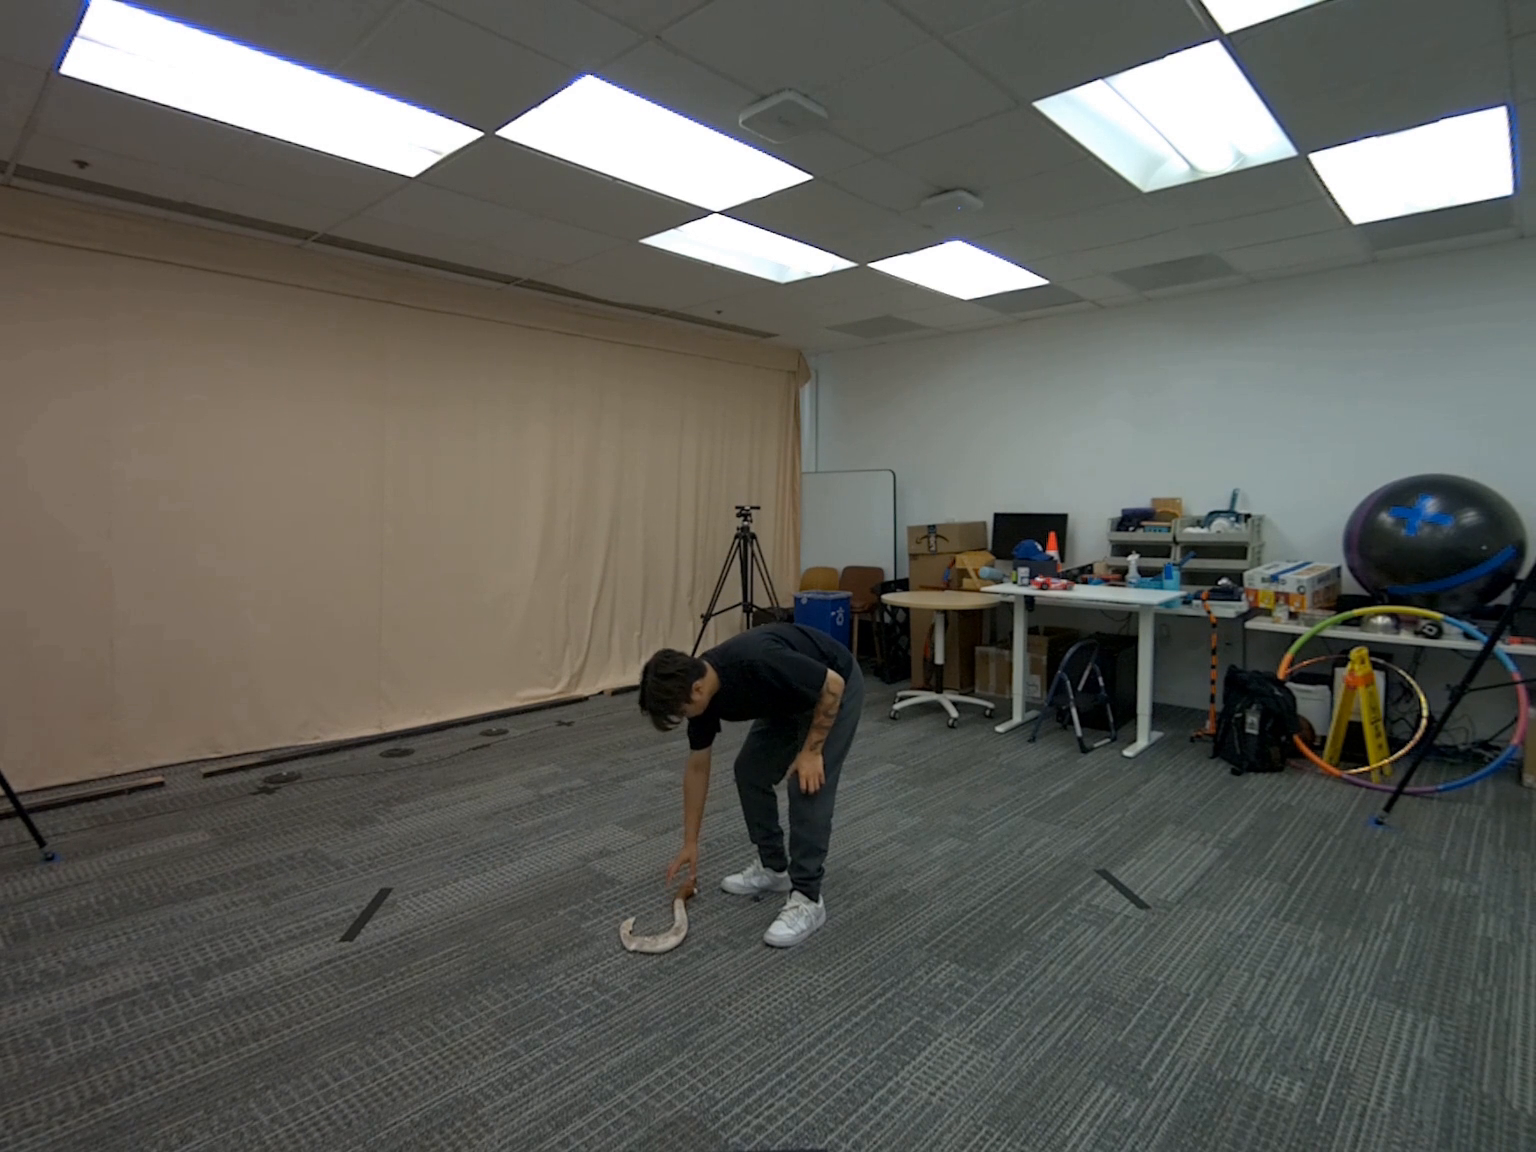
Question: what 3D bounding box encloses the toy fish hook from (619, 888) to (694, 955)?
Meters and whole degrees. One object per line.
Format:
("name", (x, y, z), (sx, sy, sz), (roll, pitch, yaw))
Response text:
("toy fish hook", (-0.360, 1.130, 2.859), (0.226, 0.048, 0.503), (2, 4, 6))
